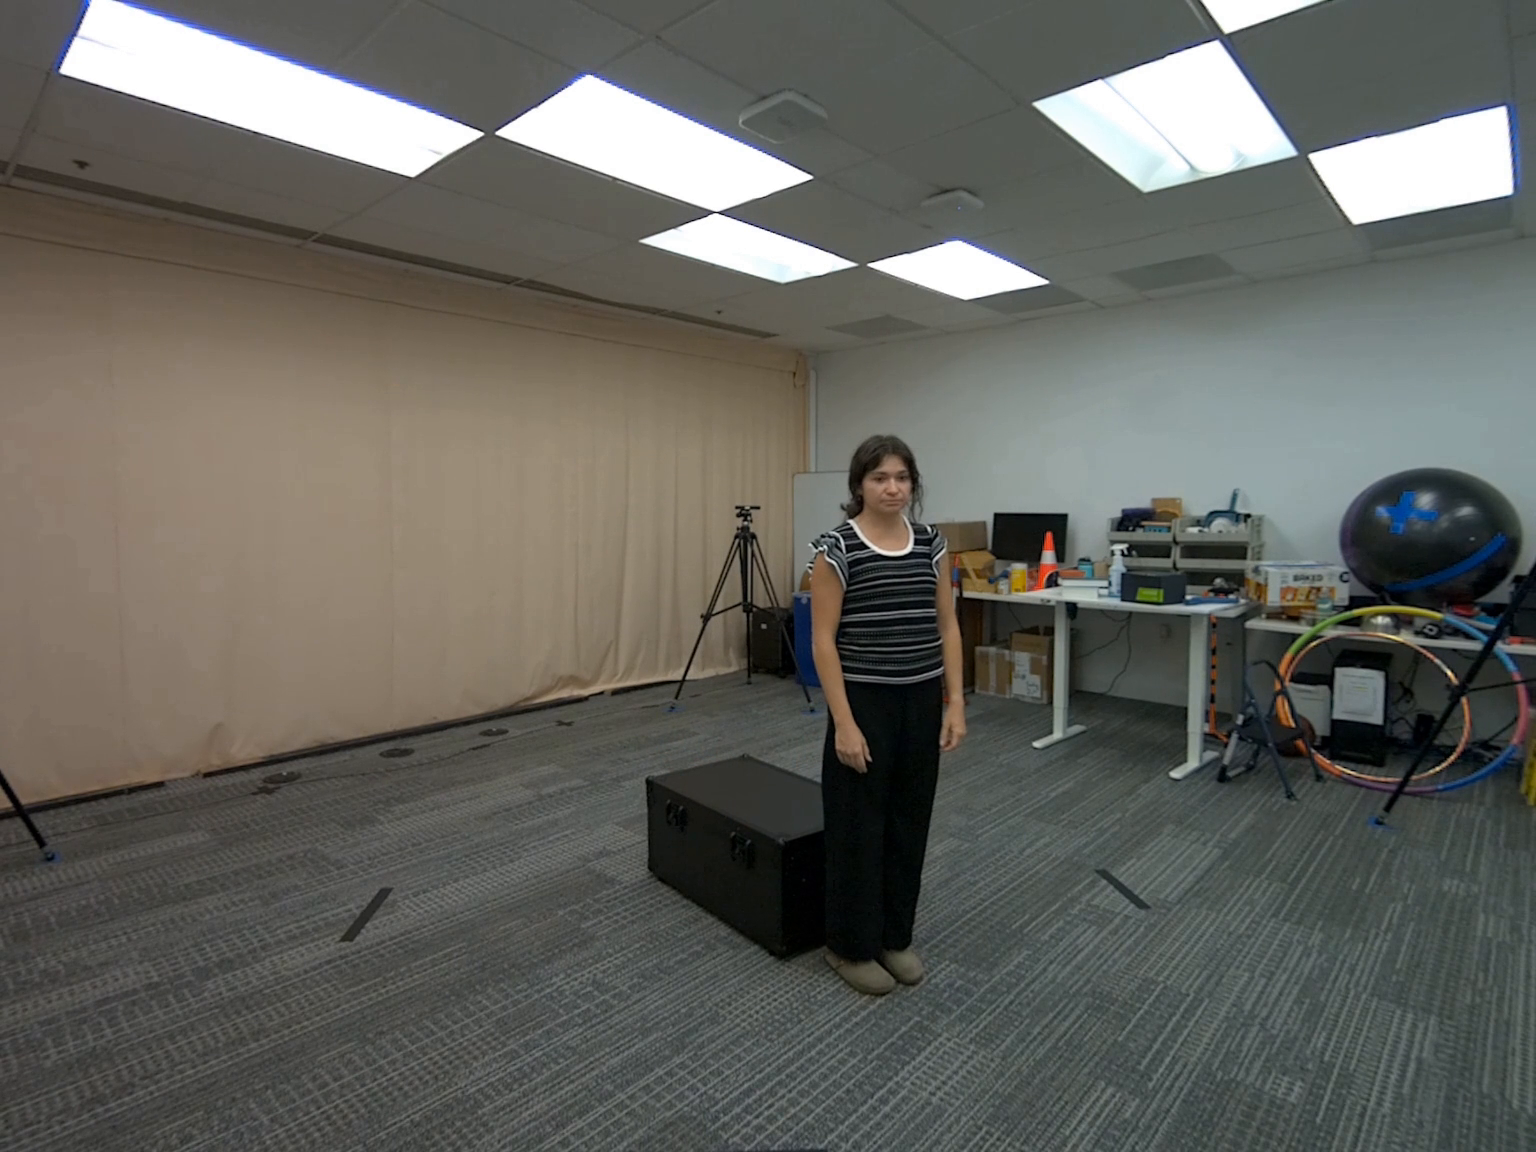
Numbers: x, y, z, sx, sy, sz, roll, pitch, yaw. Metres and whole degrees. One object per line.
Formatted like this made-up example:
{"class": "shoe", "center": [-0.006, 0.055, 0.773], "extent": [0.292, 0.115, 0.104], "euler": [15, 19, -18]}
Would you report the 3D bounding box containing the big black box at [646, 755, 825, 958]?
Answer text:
{"class": "big black box", "center": [-0.039, 0.951, 3.026], "extent": [0.506, 0.395, 0.890], "euler": [-3, 6, -38]}
